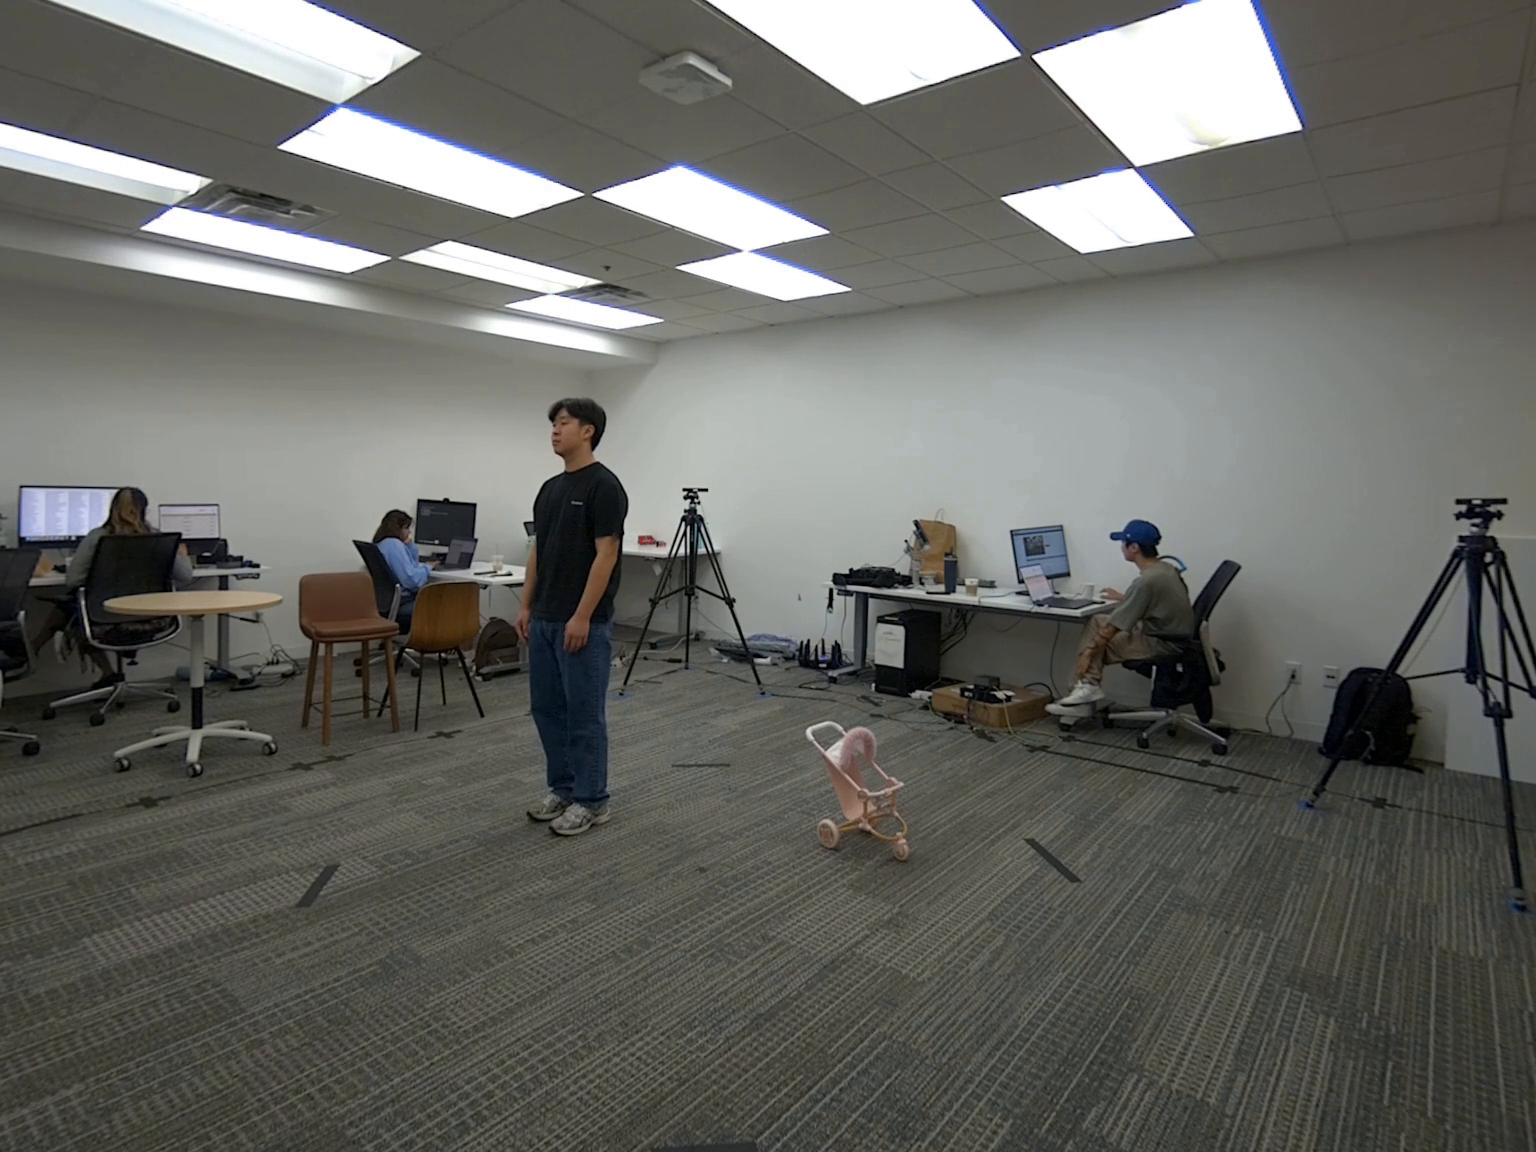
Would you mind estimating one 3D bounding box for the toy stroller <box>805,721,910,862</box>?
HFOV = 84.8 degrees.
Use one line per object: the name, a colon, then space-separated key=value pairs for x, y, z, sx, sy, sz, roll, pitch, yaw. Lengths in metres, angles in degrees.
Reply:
toy stroller: x=0.360 y=0.833 z=3.352 sx=0.273 sy=0.540 sz=0.348 roll=-3 pitch=-11 yaw=-41
